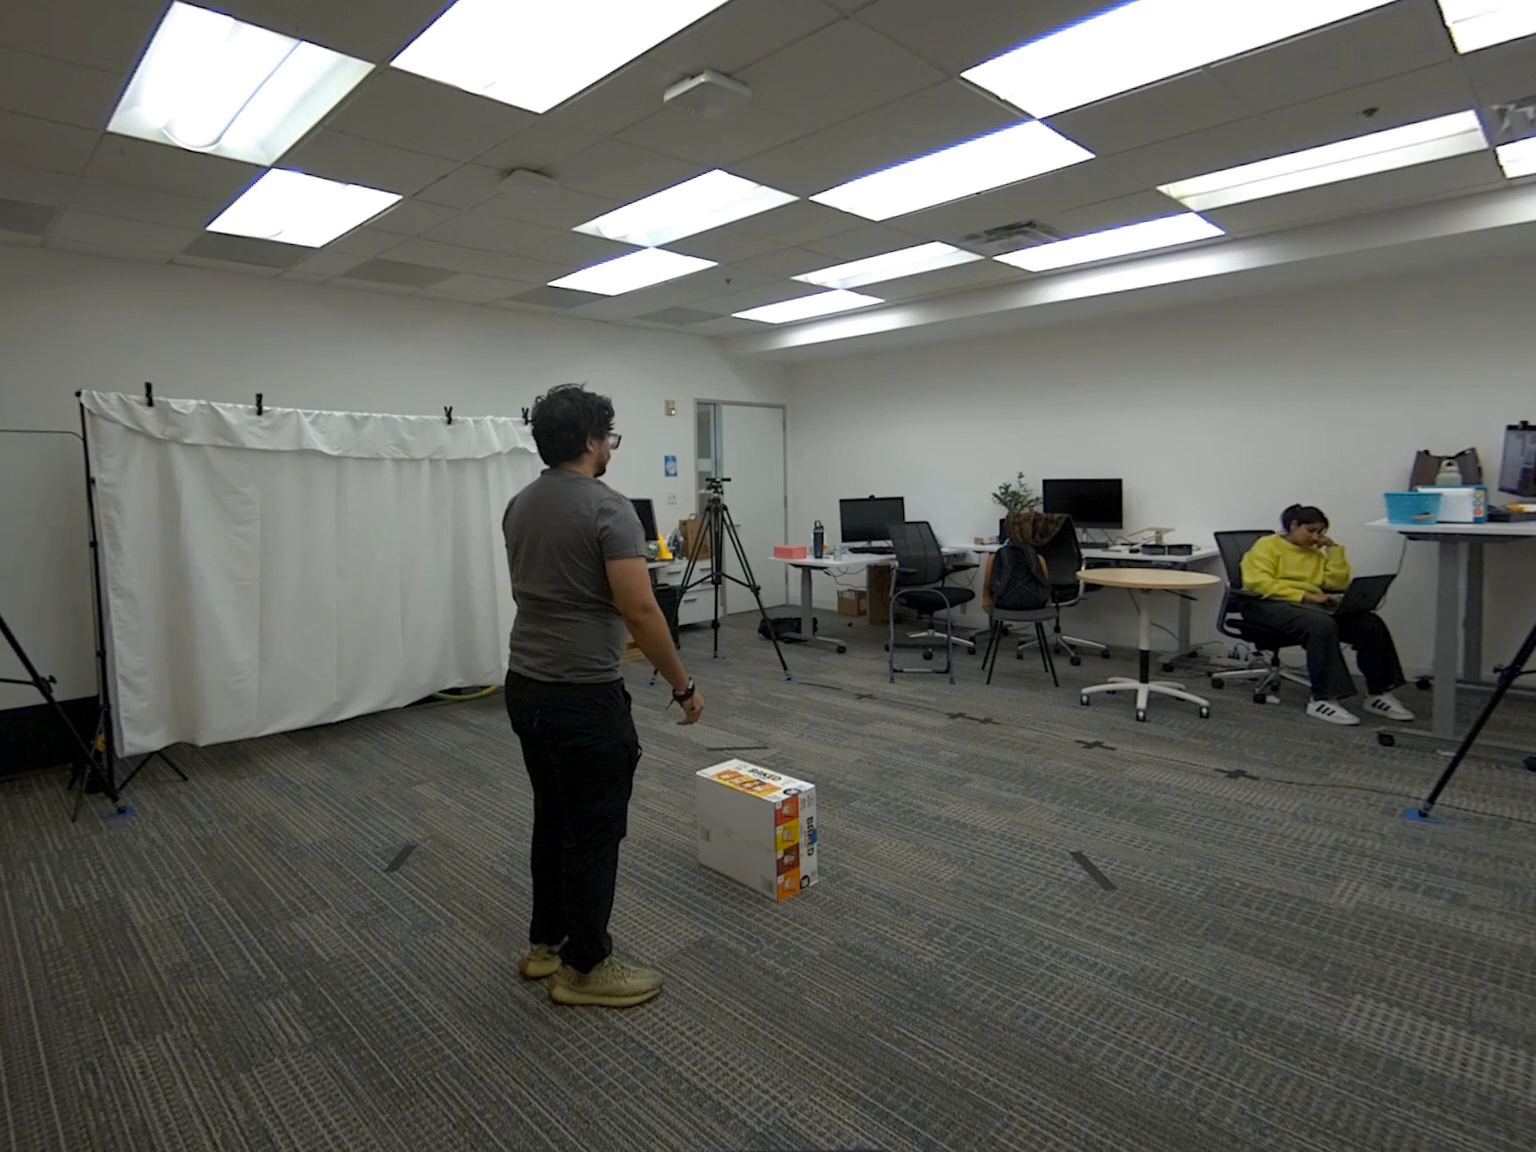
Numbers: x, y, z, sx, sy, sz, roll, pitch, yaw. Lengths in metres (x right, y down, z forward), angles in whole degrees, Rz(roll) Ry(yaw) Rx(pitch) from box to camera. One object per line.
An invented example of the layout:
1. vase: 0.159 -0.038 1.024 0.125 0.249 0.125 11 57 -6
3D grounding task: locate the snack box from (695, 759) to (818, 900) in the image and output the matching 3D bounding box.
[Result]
1. snack box: -0.044 0.882 3.014 0.200 0.339 0.418 -5 7 -44
